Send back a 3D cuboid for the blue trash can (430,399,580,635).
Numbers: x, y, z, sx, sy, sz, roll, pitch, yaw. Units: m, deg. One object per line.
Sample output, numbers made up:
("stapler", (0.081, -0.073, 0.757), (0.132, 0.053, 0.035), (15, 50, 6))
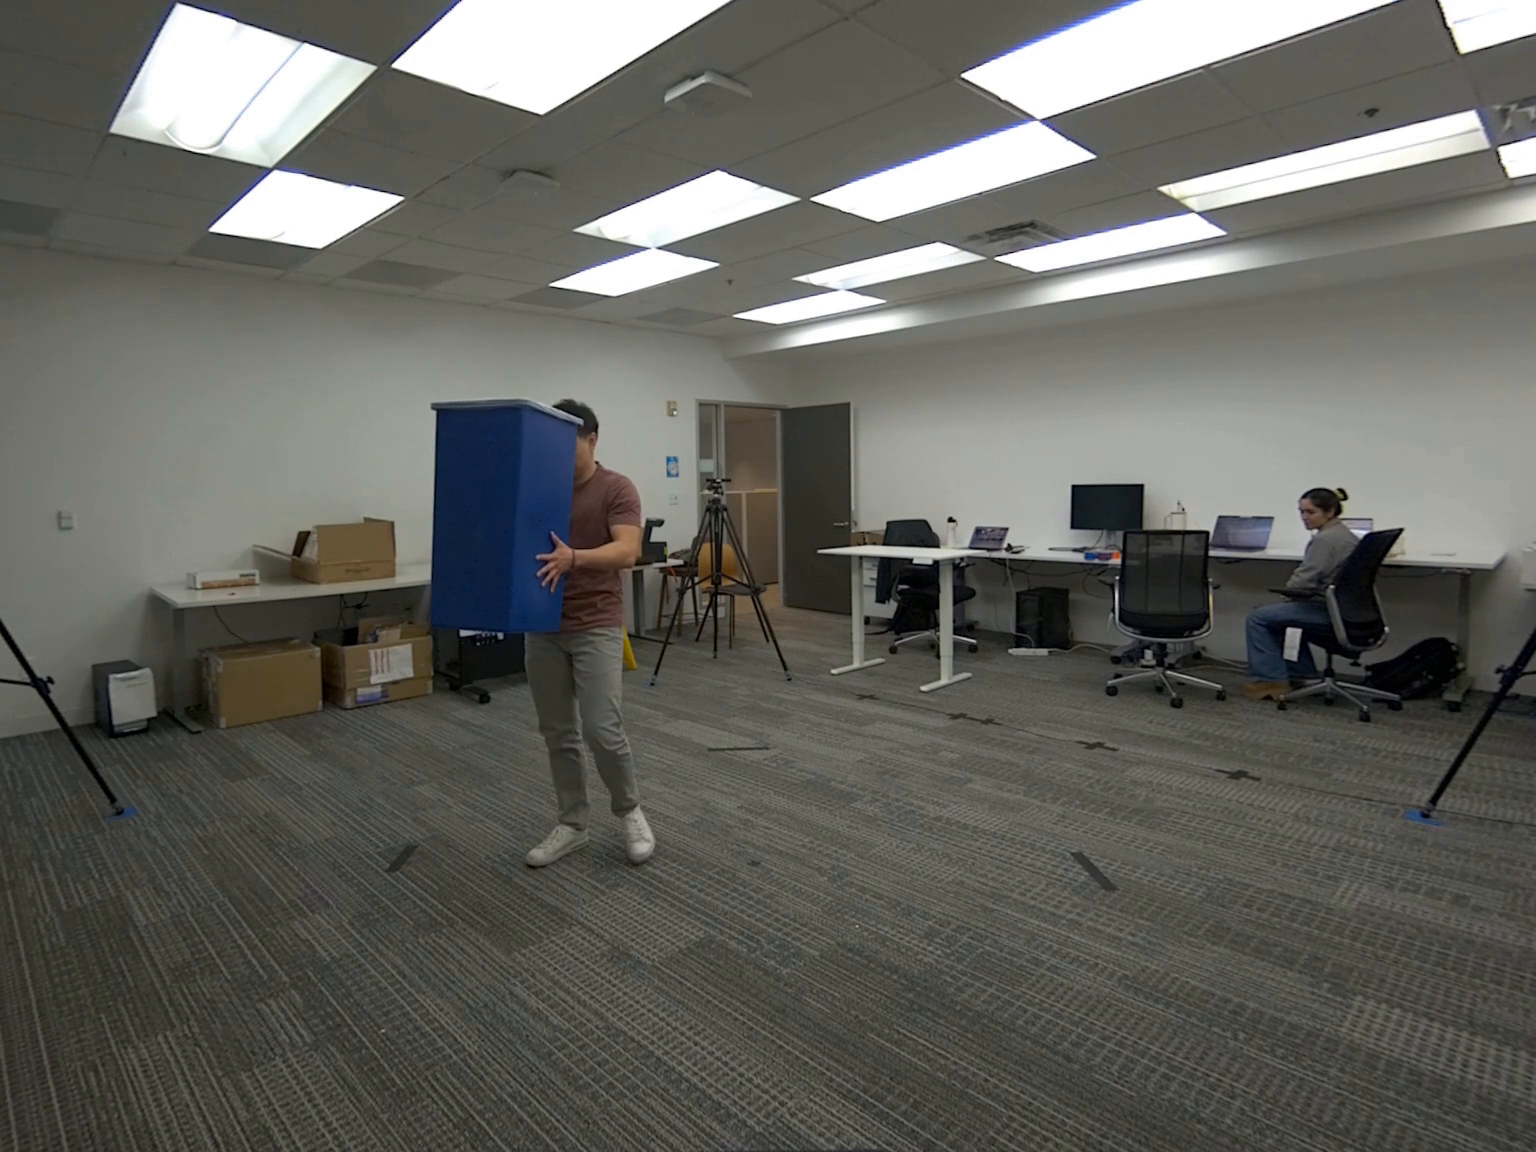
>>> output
("blue trash can", (-0.862, -0.185, 2.768), (0.385, 0.716, 0.366), (1, -4, 18))
